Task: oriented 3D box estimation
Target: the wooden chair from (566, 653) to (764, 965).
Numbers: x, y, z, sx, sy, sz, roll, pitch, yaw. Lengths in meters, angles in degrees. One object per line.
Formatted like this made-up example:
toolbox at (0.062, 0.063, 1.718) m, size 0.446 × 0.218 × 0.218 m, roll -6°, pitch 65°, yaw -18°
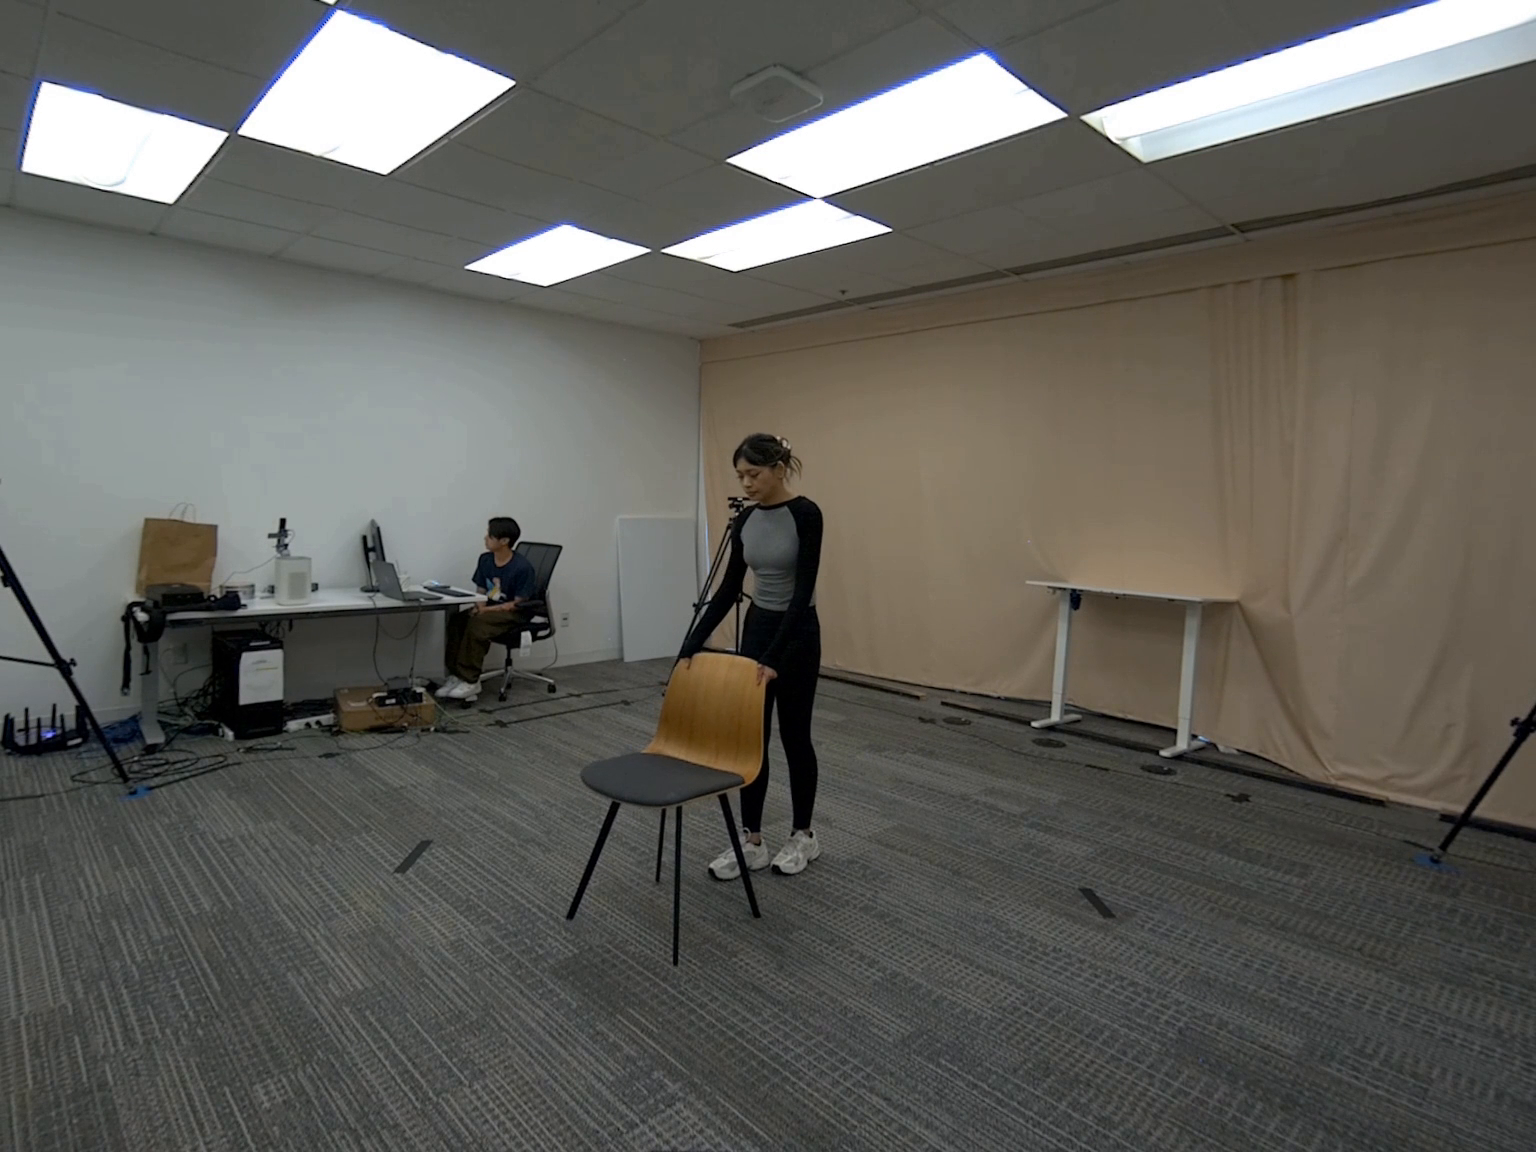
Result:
wooden chair at (-0.308, 0.694, 2.731) m, size 0.489 × 0.880 × 0.509 m, roll 4°, pitch -5°, yaw 34°
